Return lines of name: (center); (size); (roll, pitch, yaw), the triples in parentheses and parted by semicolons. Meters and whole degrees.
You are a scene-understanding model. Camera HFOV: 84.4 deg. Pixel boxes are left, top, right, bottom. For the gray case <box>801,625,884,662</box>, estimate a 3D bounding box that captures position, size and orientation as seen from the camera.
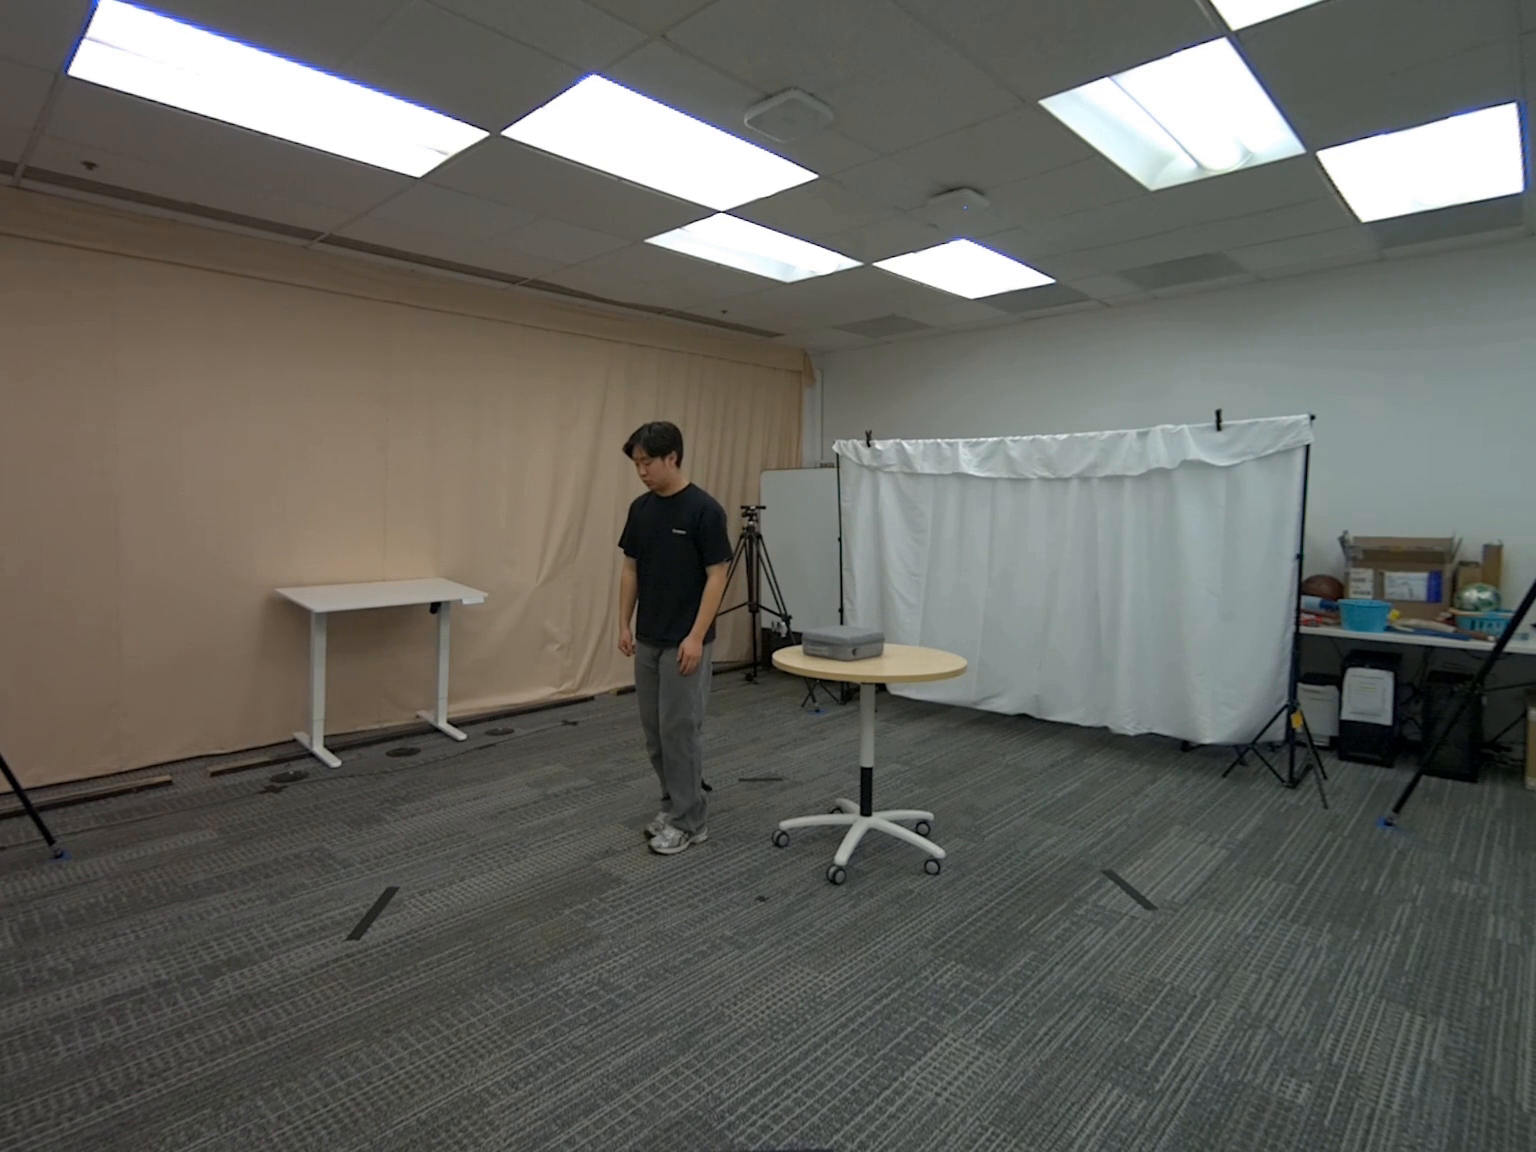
gray case: (0.305, 0.271, 3.412); (0.278, 0.103, 0.272); (-5, 6, -40)
